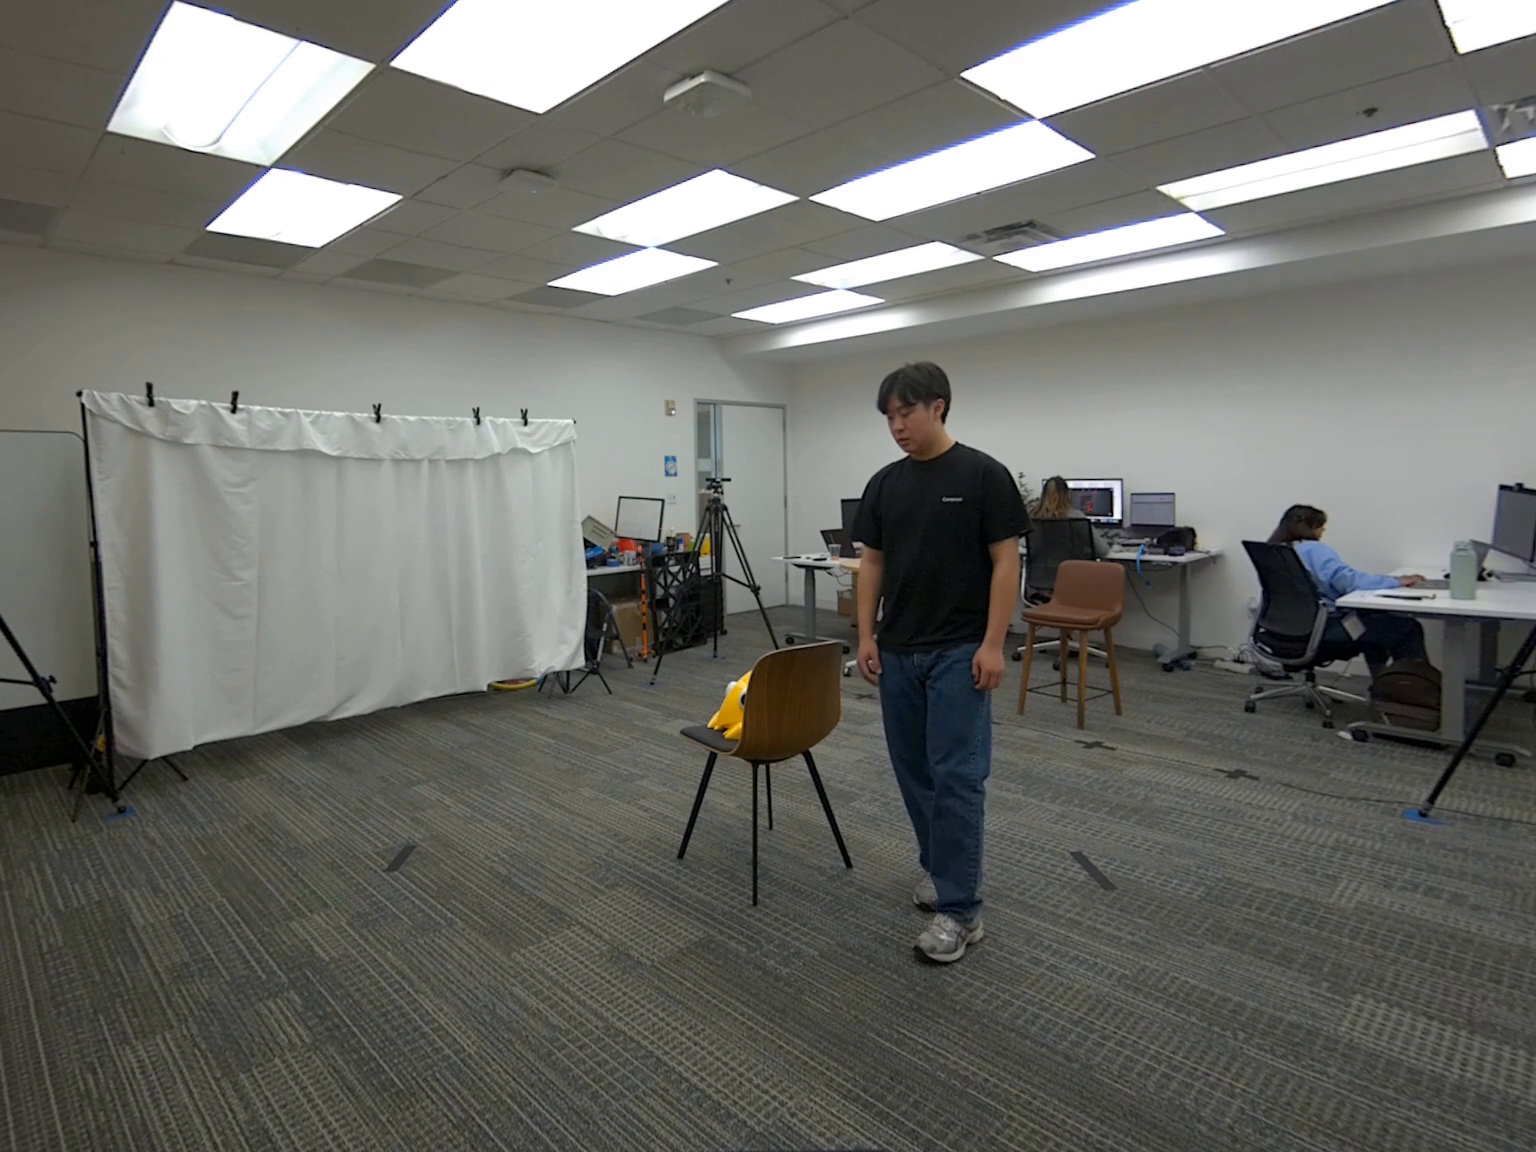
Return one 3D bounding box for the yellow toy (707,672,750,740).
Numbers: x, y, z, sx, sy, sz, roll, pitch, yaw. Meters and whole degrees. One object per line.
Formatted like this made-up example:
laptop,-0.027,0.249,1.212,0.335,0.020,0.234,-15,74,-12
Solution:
yellow toy,-0.095,0.451,3.098,0.188,0.230,0.211,1,6,-32
